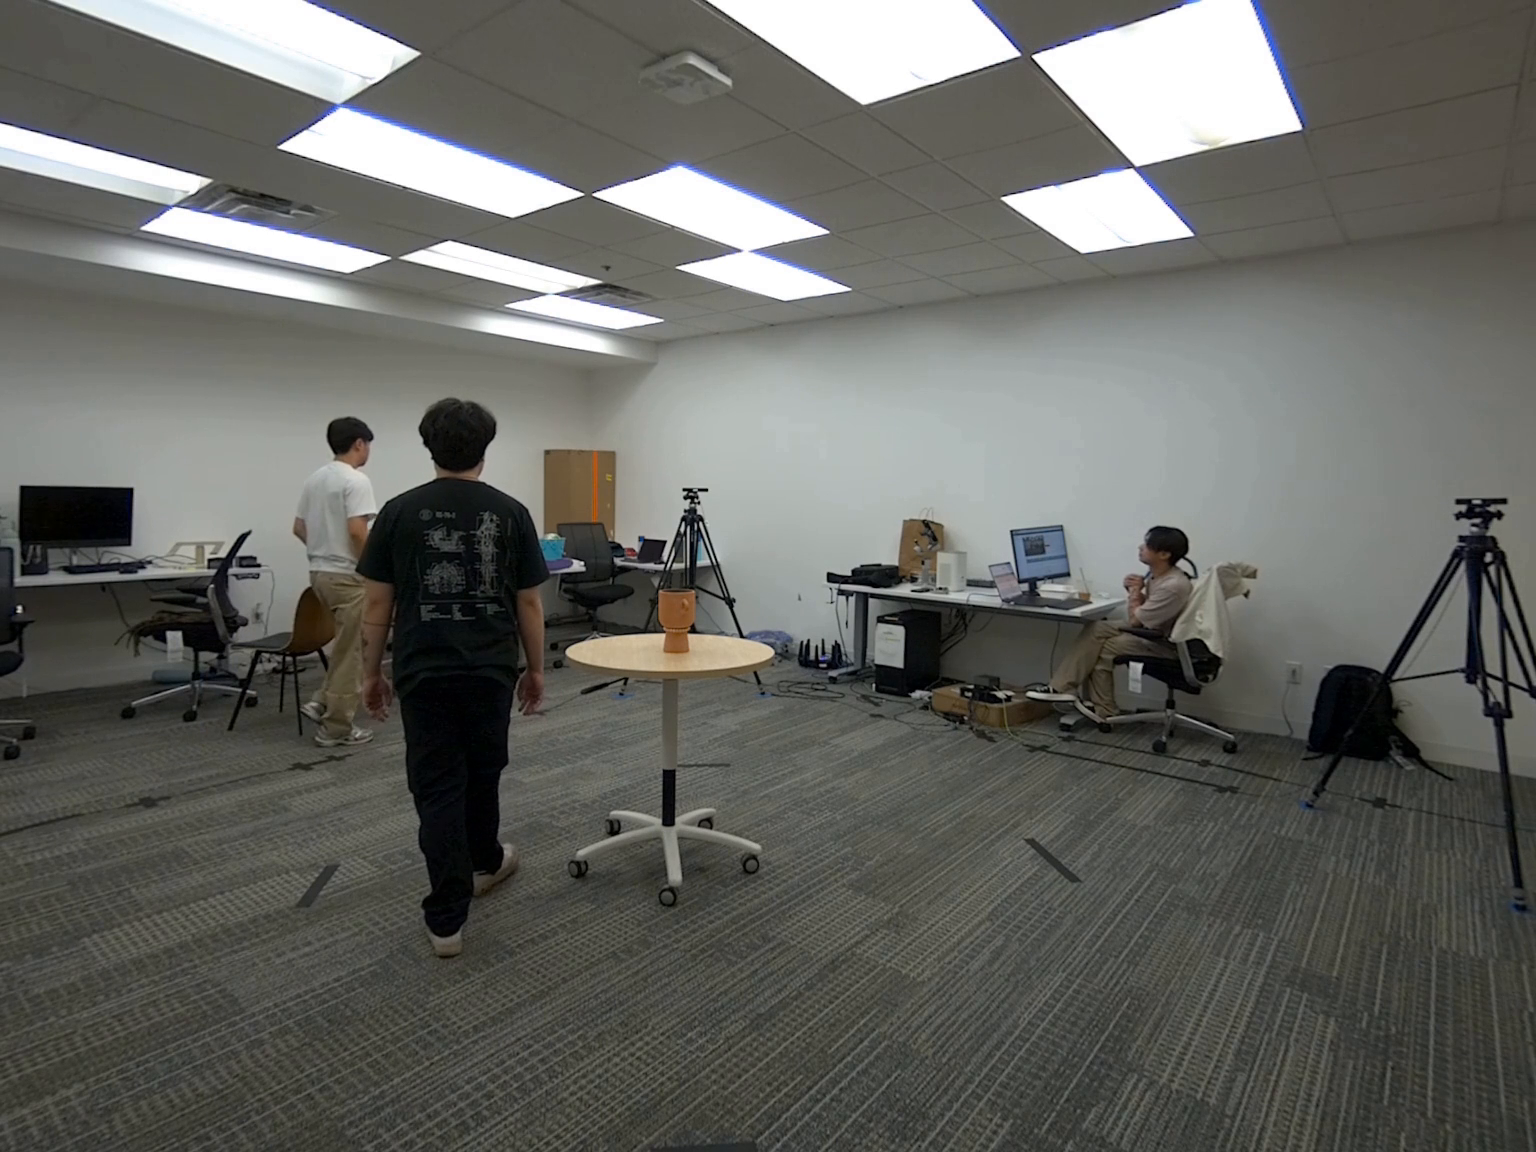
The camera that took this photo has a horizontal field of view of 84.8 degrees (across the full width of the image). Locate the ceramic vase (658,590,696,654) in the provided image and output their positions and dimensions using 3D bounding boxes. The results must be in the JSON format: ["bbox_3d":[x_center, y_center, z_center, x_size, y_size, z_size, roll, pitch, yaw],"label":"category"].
[{"bbox_3d":[-0.348,0.163,3.120,0.136,0.219,0.157,1,3,12],"label":"ceramic vase"}]
